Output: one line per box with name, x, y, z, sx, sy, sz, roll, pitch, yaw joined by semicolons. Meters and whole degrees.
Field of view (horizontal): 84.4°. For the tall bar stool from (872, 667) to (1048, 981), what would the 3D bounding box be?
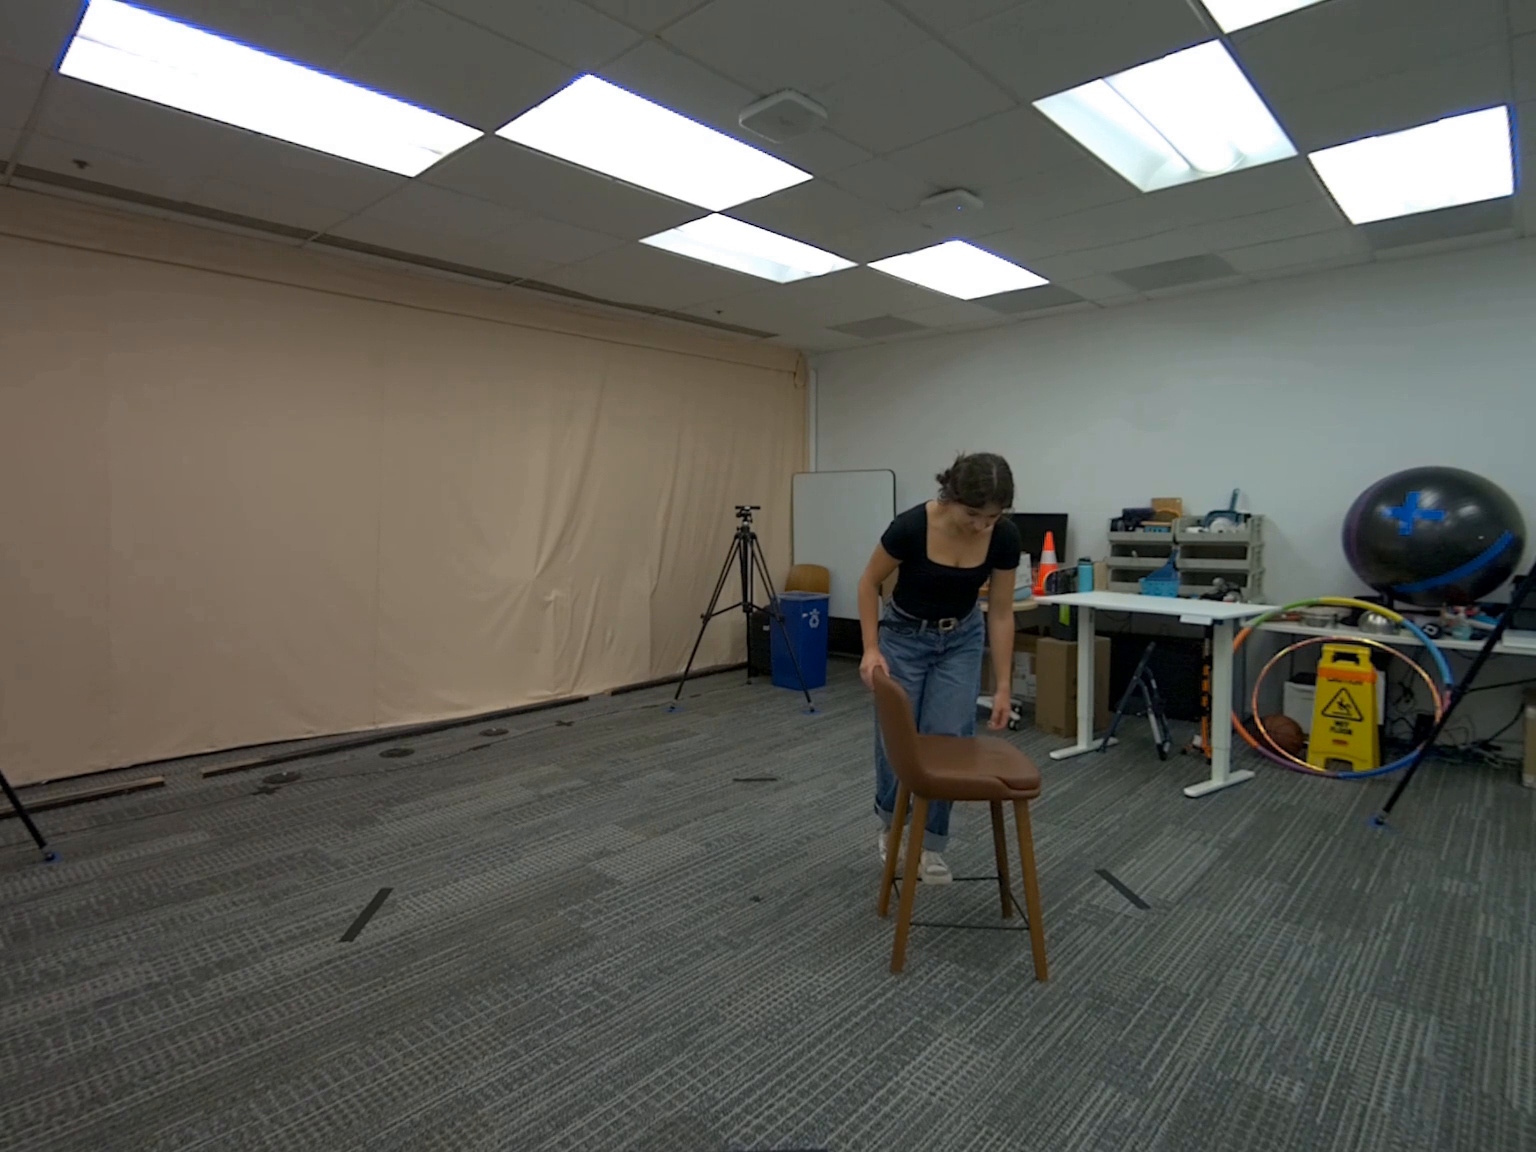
tall bar stool;0.596;0.736;2.651;0.470;0.888;0.455;-2;3;4
